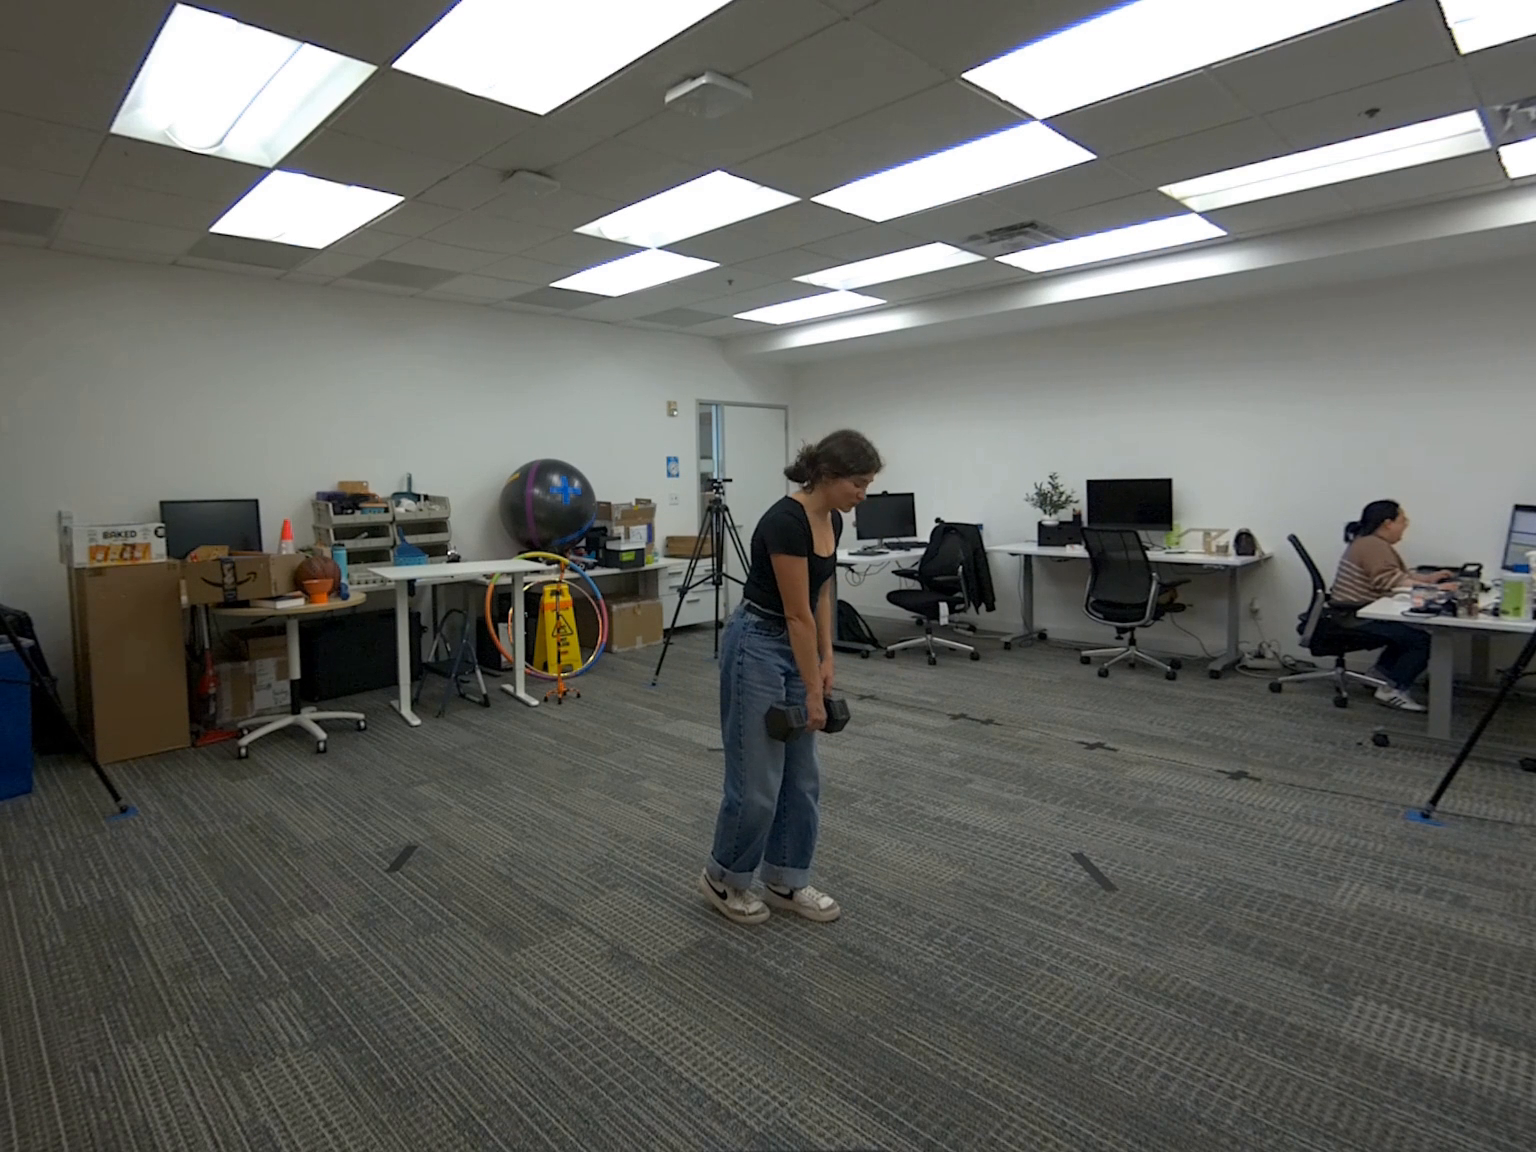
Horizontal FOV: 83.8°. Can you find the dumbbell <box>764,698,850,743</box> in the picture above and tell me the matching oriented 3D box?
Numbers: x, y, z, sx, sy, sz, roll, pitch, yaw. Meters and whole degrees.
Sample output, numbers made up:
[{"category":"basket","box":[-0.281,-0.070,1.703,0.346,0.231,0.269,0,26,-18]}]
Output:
[{"category":"dumbbell","box":[0.117,0.438,2.619,0.285,0.122,0.113,-1,38,-47]}]
